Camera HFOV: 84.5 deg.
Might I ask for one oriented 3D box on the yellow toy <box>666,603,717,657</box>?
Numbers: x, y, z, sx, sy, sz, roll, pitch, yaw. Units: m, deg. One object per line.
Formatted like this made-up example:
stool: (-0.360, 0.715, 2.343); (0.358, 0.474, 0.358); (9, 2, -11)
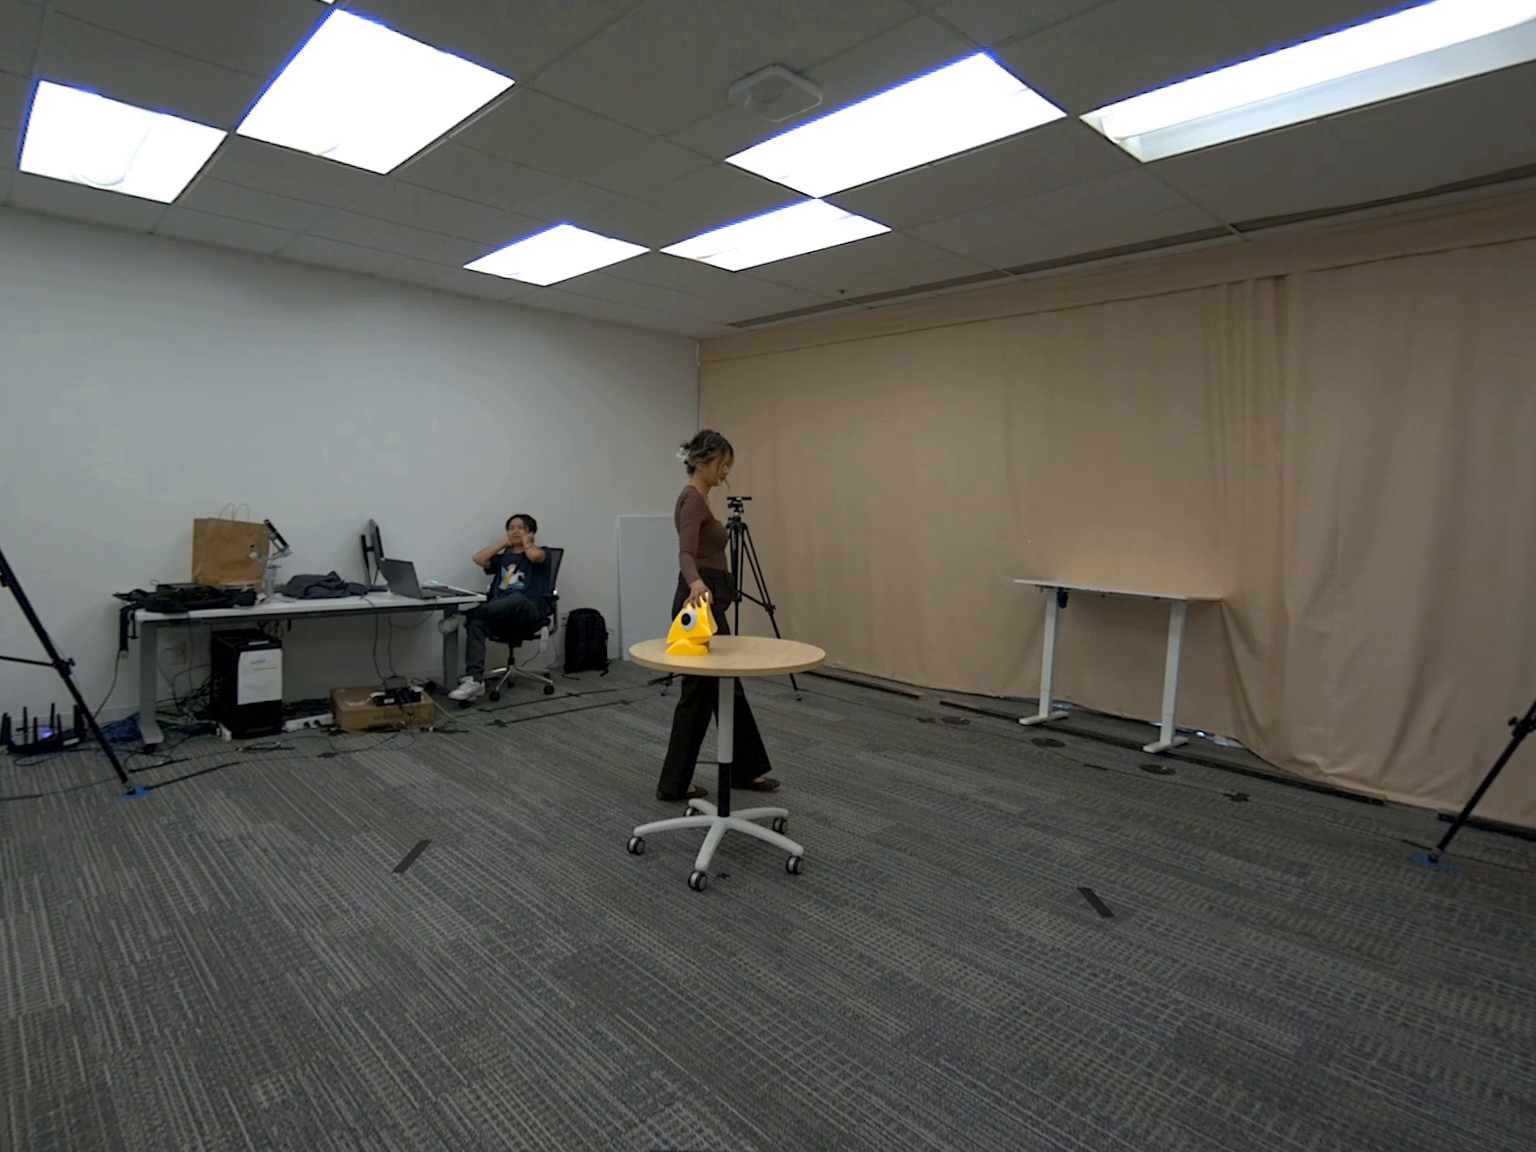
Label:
yellow toy: (-0.307, 0.176, 3.258); (0.194, 0.230, 0.204); (3, 3, 4)
